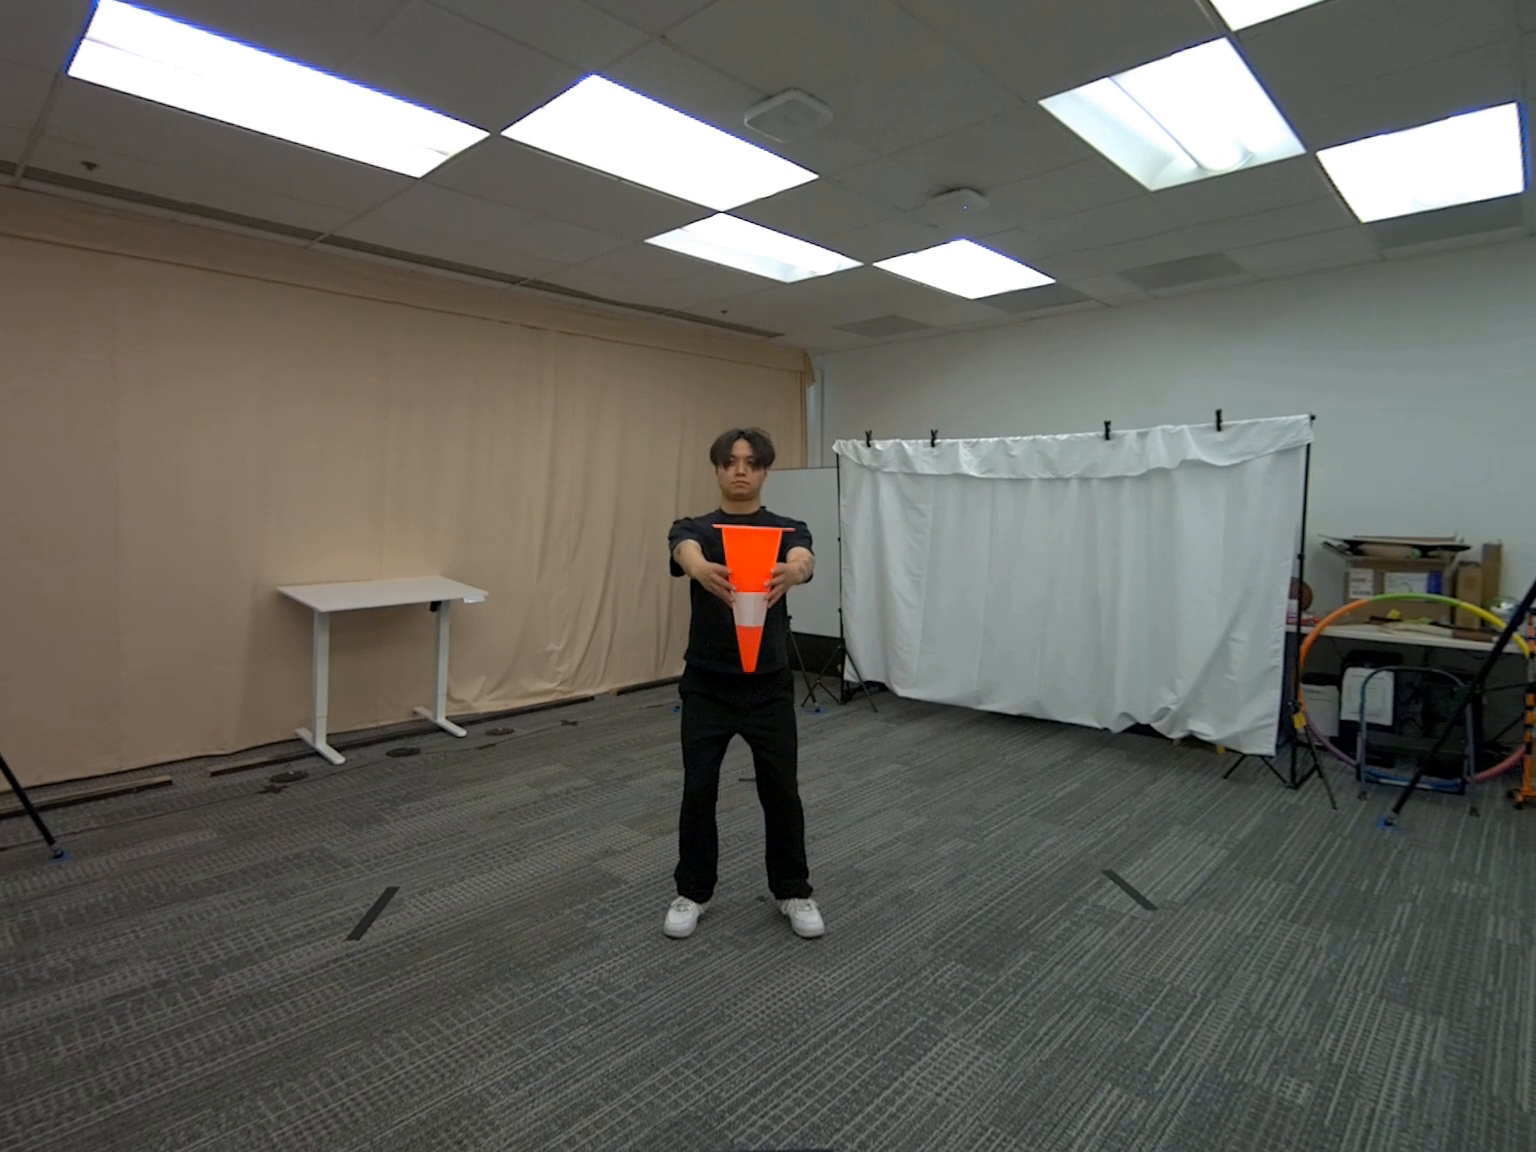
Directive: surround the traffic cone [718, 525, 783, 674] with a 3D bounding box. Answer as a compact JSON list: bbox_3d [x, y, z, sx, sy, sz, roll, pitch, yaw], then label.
[{"bbox_3d":[-0.045,0.071,2.210,0.205,0.383,0.204,4,1,-2],"label":"traffic cone"}]
